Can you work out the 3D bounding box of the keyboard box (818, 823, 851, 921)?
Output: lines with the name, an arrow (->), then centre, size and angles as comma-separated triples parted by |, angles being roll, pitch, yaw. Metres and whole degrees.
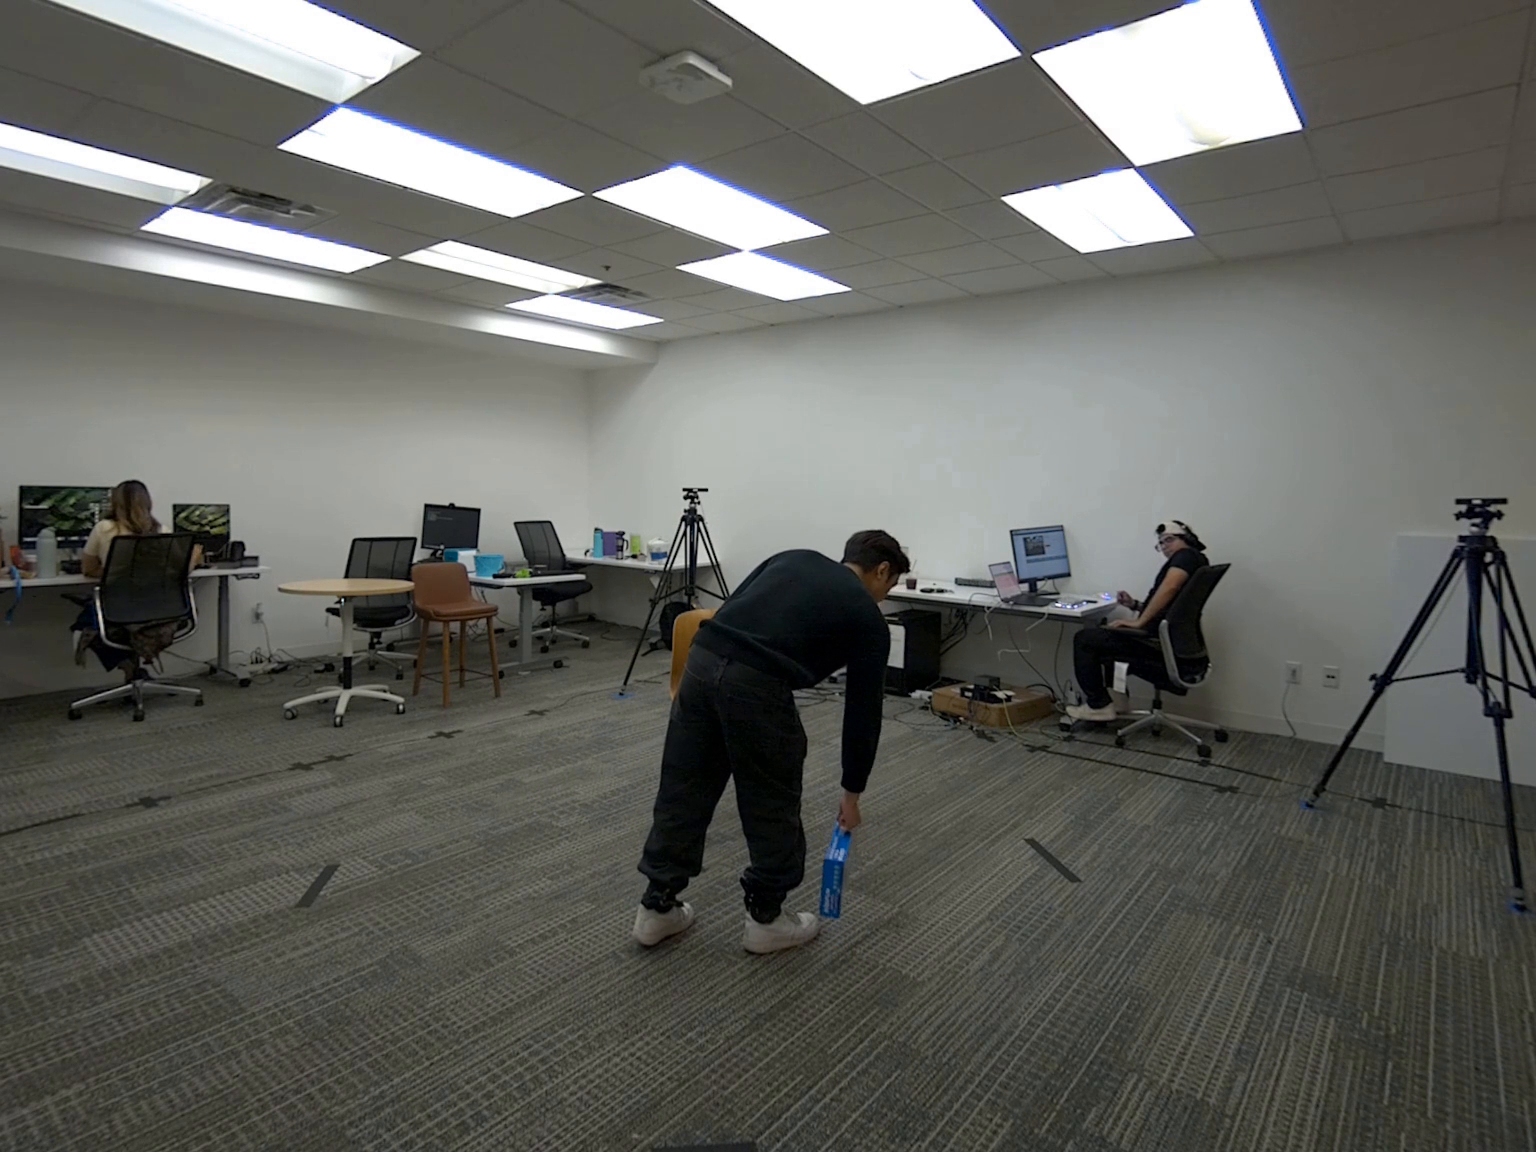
keyboard box -> 0.215, 0.876, 2.659 | 0.060, 0.175, 0.433 | 3, 7, 11
